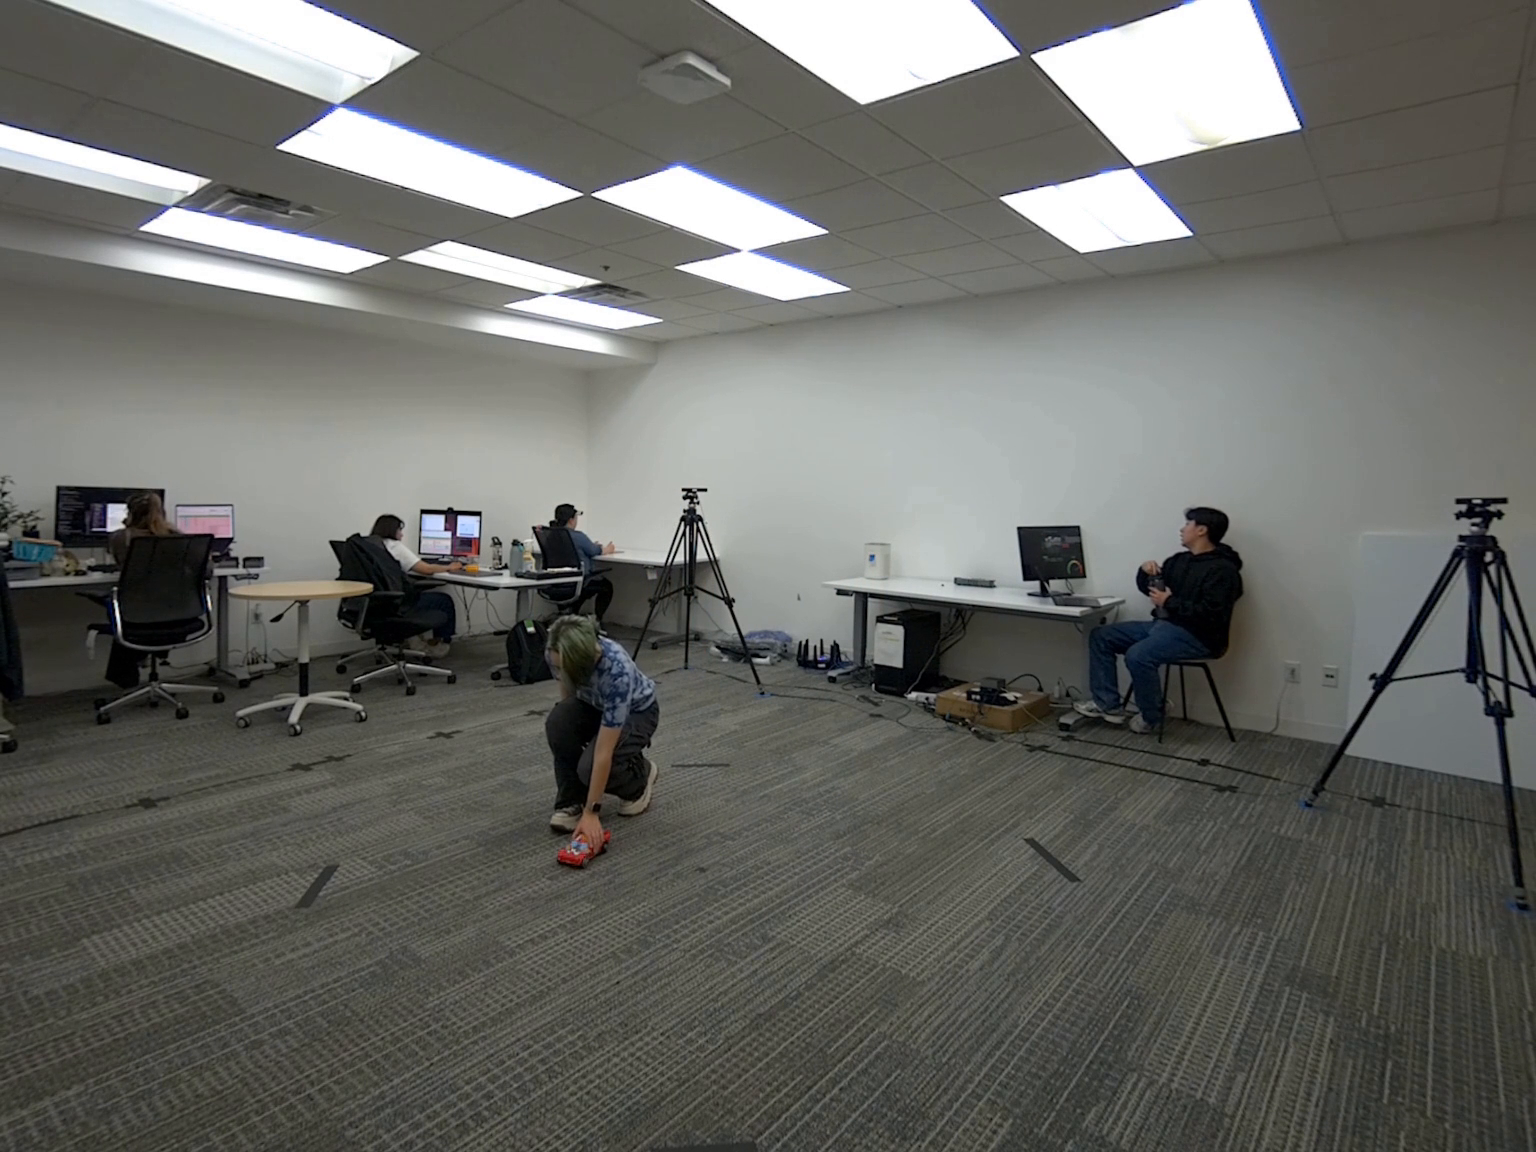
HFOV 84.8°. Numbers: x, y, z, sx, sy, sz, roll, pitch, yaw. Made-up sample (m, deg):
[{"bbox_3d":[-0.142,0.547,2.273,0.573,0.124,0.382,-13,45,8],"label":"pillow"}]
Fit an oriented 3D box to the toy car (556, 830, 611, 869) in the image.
[{"bbox_3d":[-0.701,1.024,3.208,0.133,0.082,0.252,3,15,21],"label":"toy car"}]
